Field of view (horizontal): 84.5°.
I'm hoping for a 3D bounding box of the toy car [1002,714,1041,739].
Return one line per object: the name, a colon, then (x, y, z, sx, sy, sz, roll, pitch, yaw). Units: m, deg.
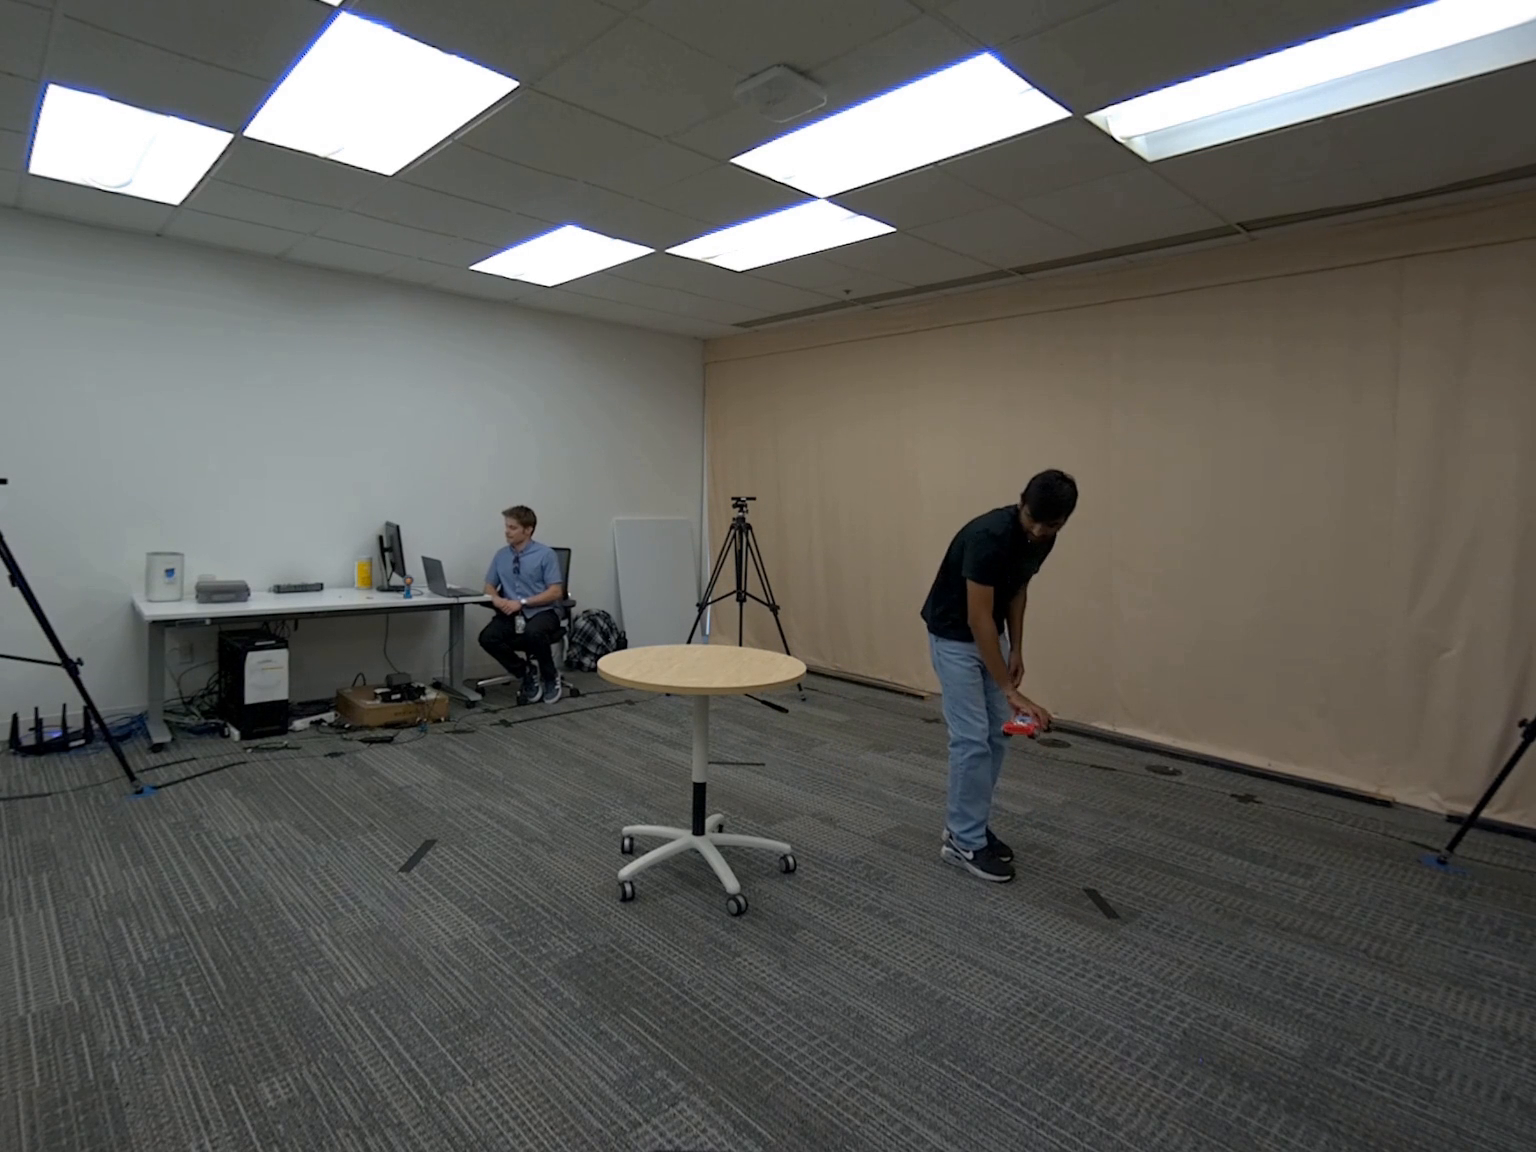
toy car: (0.923, 0.540, 2.997, 0.133, 0.083, 0.250, -3, 9, 38)
